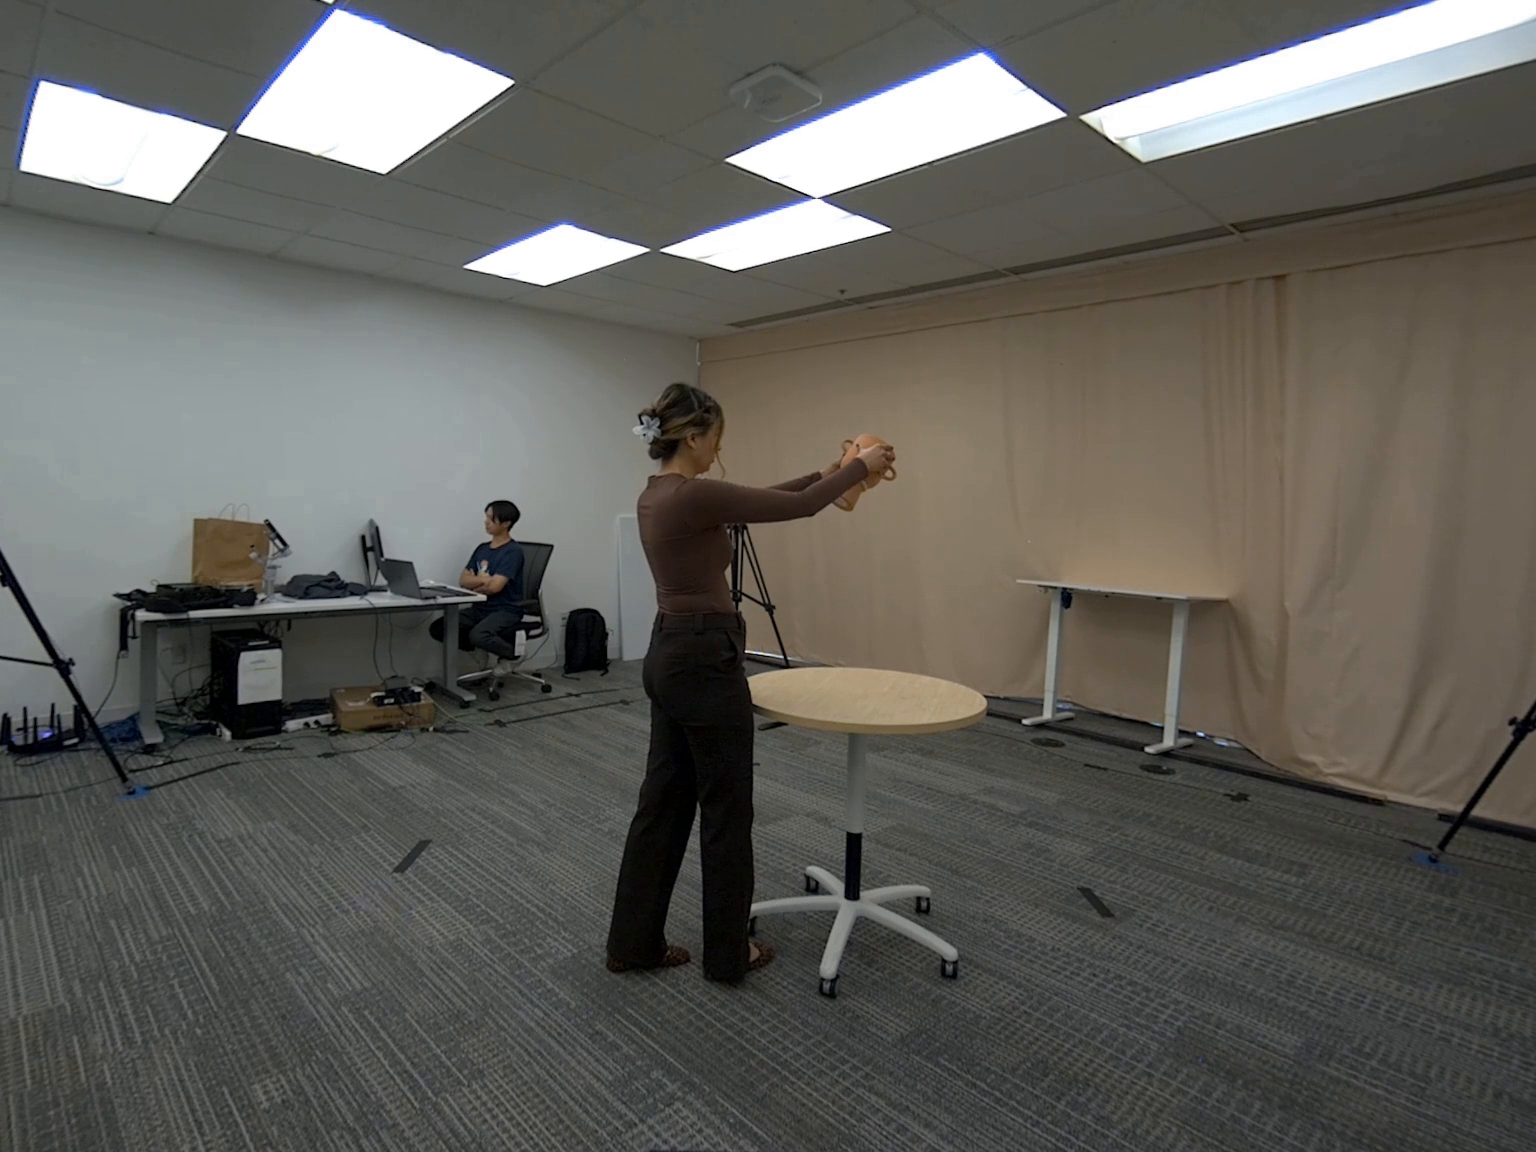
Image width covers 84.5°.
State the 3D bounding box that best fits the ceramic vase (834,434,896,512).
[{"bbox_3d":[0.277,-0.310,2.587,0.163,0.220,0.130,20,-21,40],"label":"ceramic vase"}]
